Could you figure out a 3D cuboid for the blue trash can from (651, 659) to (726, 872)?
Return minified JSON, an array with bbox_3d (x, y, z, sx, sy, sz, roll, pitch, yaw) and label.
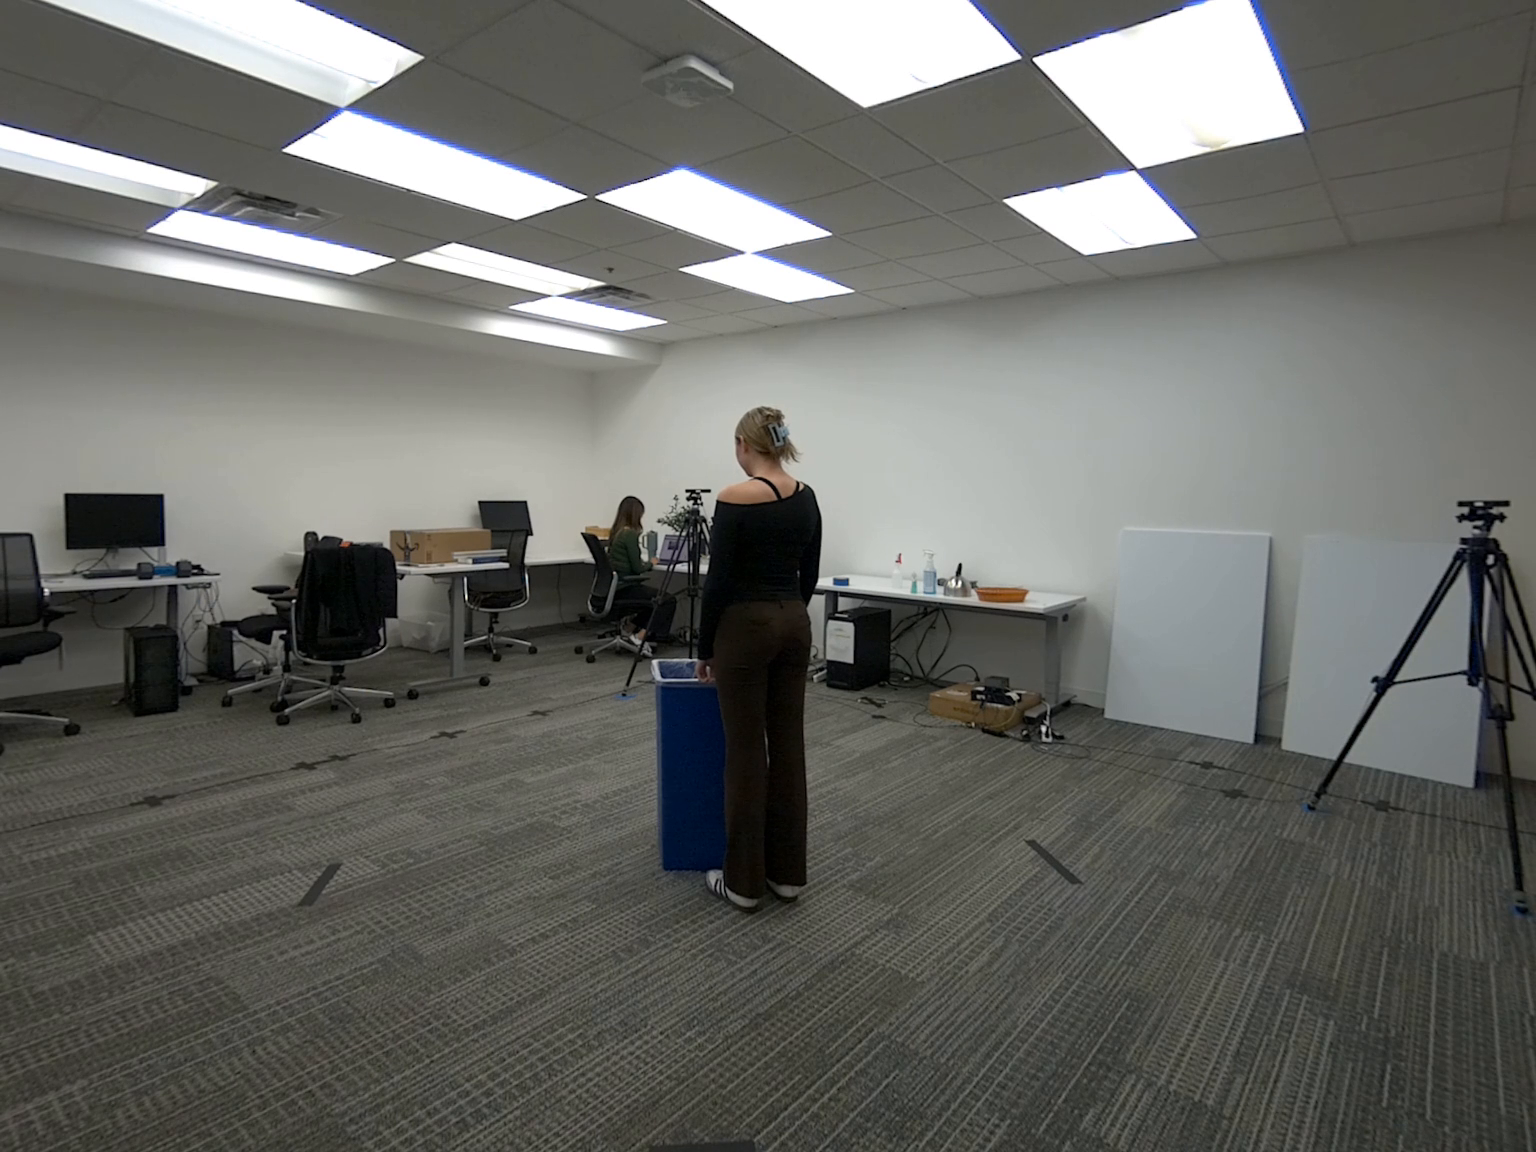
[{"bbox_3d":[-0.264,0.701,3.237,0.375,0.711,0.378,0,3,-8],"label":"blue trash can"}]
